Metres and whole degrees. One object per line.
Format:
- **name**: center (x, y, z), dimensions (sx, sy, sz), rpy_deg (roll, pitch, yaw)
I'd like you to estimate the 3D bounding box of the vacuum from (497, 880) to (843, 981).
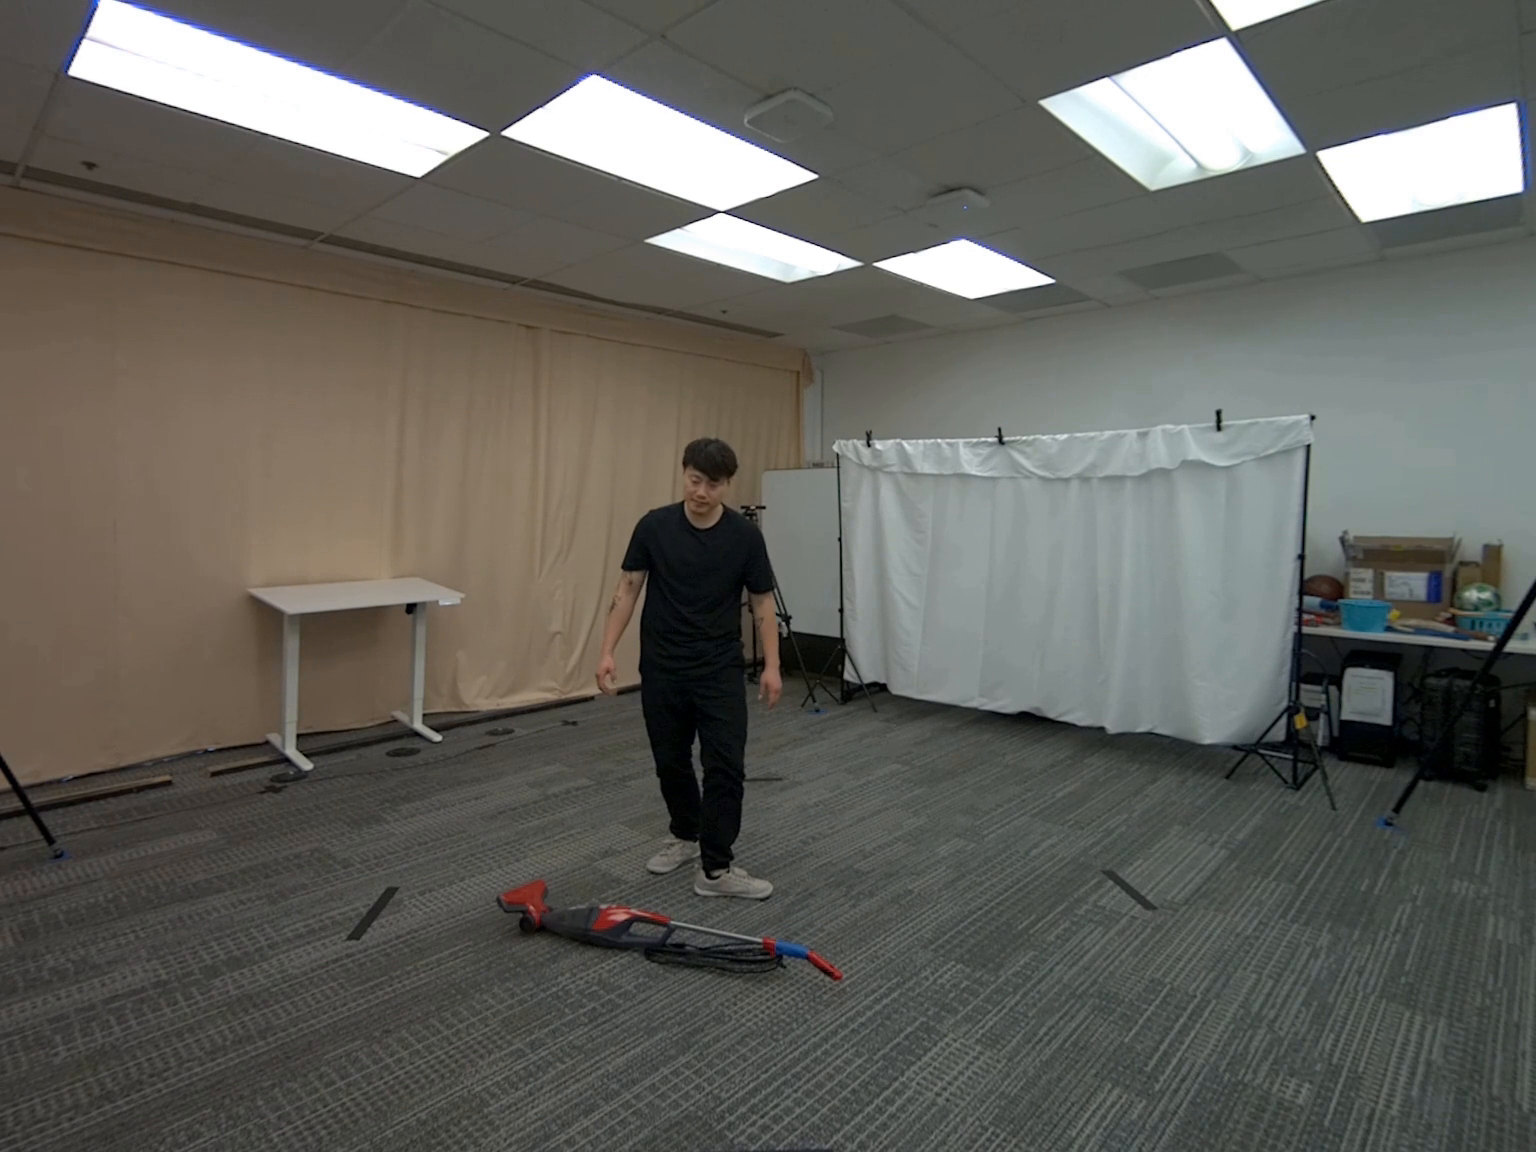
- **vacuum**: center (-0.298, 1.126, 2.595), dimensions (1.073, 0.144, 0.246), rpy_deg (3, -6, 21)
